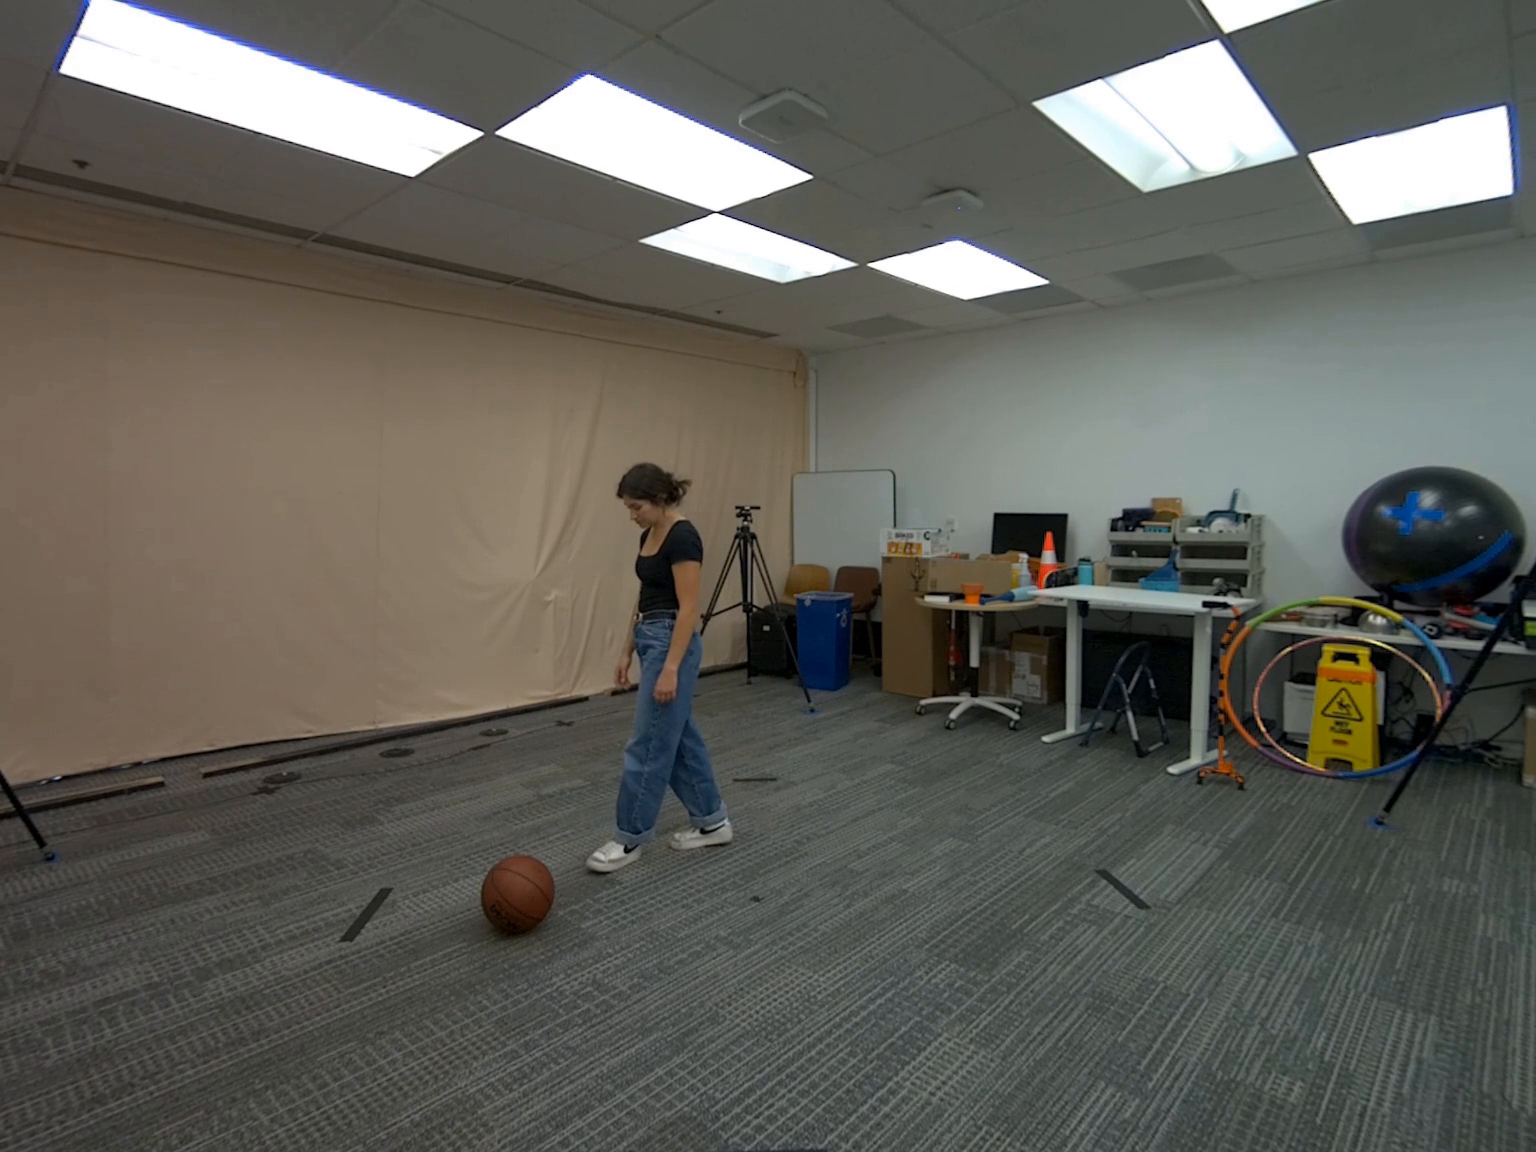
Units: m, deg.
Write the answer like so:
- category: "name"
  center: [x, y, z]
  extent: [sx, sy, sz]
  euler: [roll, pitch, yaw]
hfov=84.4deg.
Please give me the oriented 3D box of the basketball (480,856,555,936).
- category: "basketball"
  center: [-0.829, 1.046, 2.777]
  extent: [0.236, 0.235, 0.237]
  euler: [0, 4, -2]
